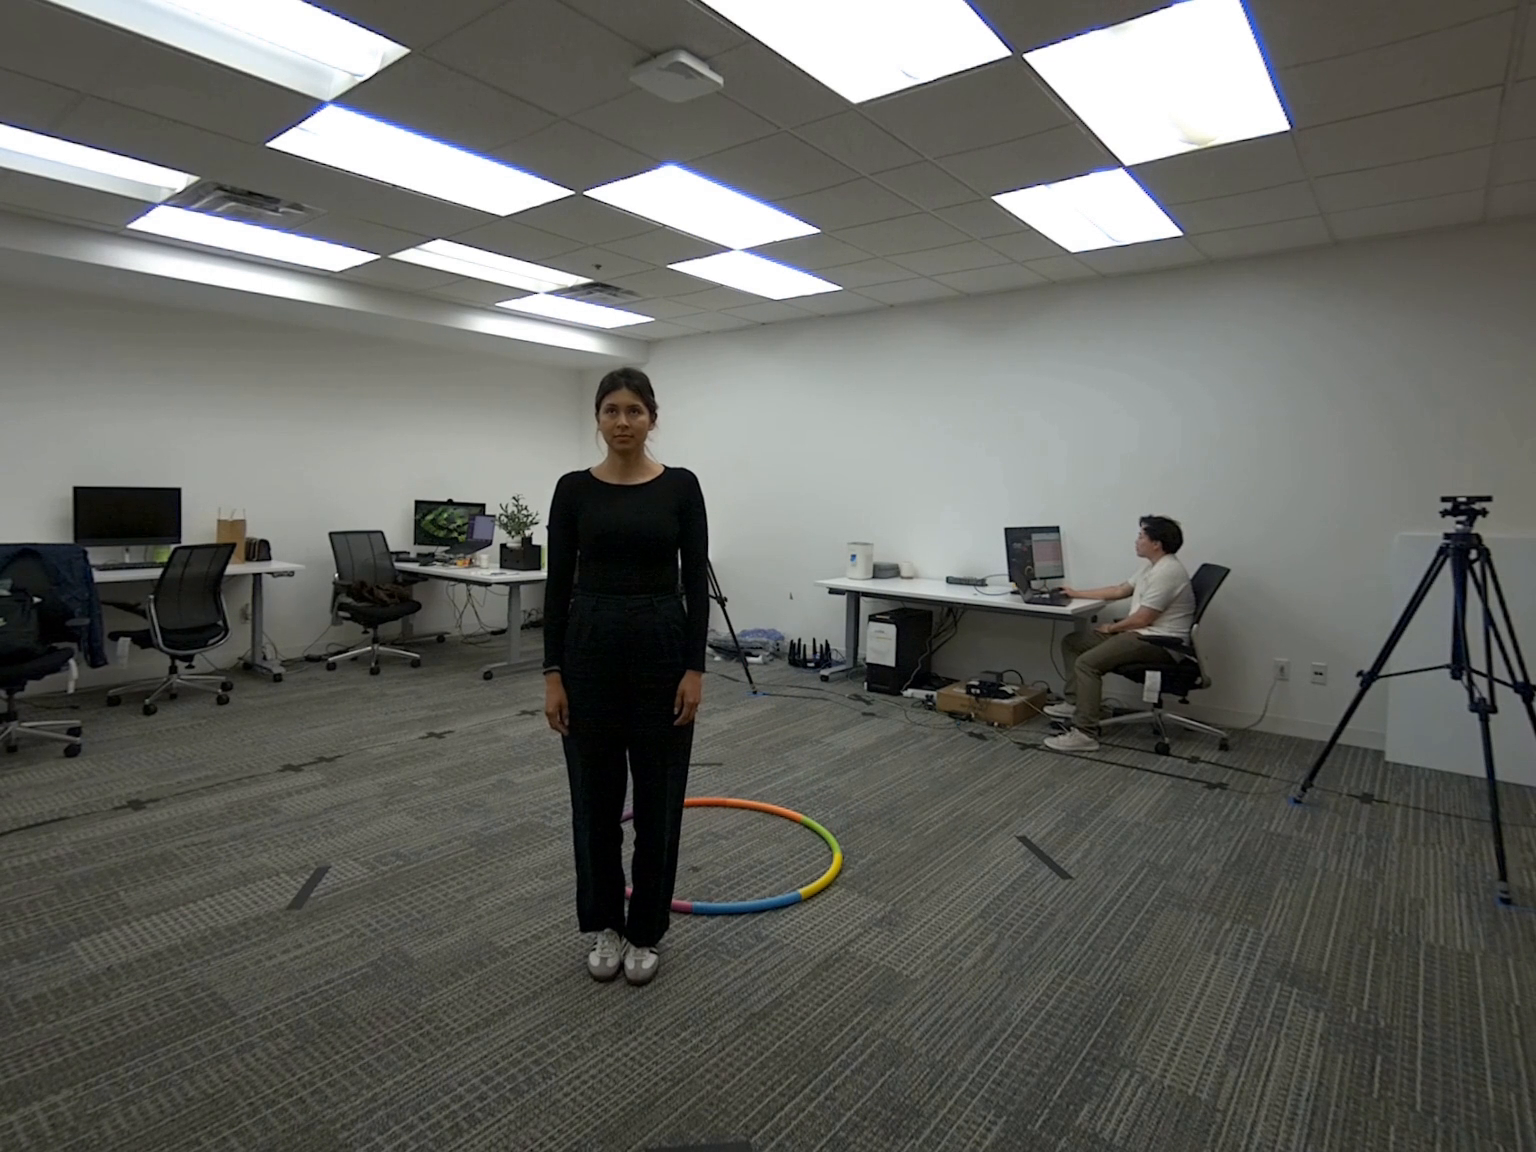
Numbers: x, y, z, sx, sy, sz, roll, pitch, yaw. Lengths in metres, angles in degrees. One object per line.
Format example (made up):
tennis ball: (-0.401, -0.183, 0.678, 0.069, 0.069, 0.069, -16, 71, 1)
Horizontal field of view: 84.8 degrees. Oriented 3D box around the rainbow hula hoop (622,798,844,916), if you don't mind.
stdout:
rainbow hula hoop: (-0.221, 1.023, 3.250, 0.978, 0.035, 0.984, 0, 6, -2)
